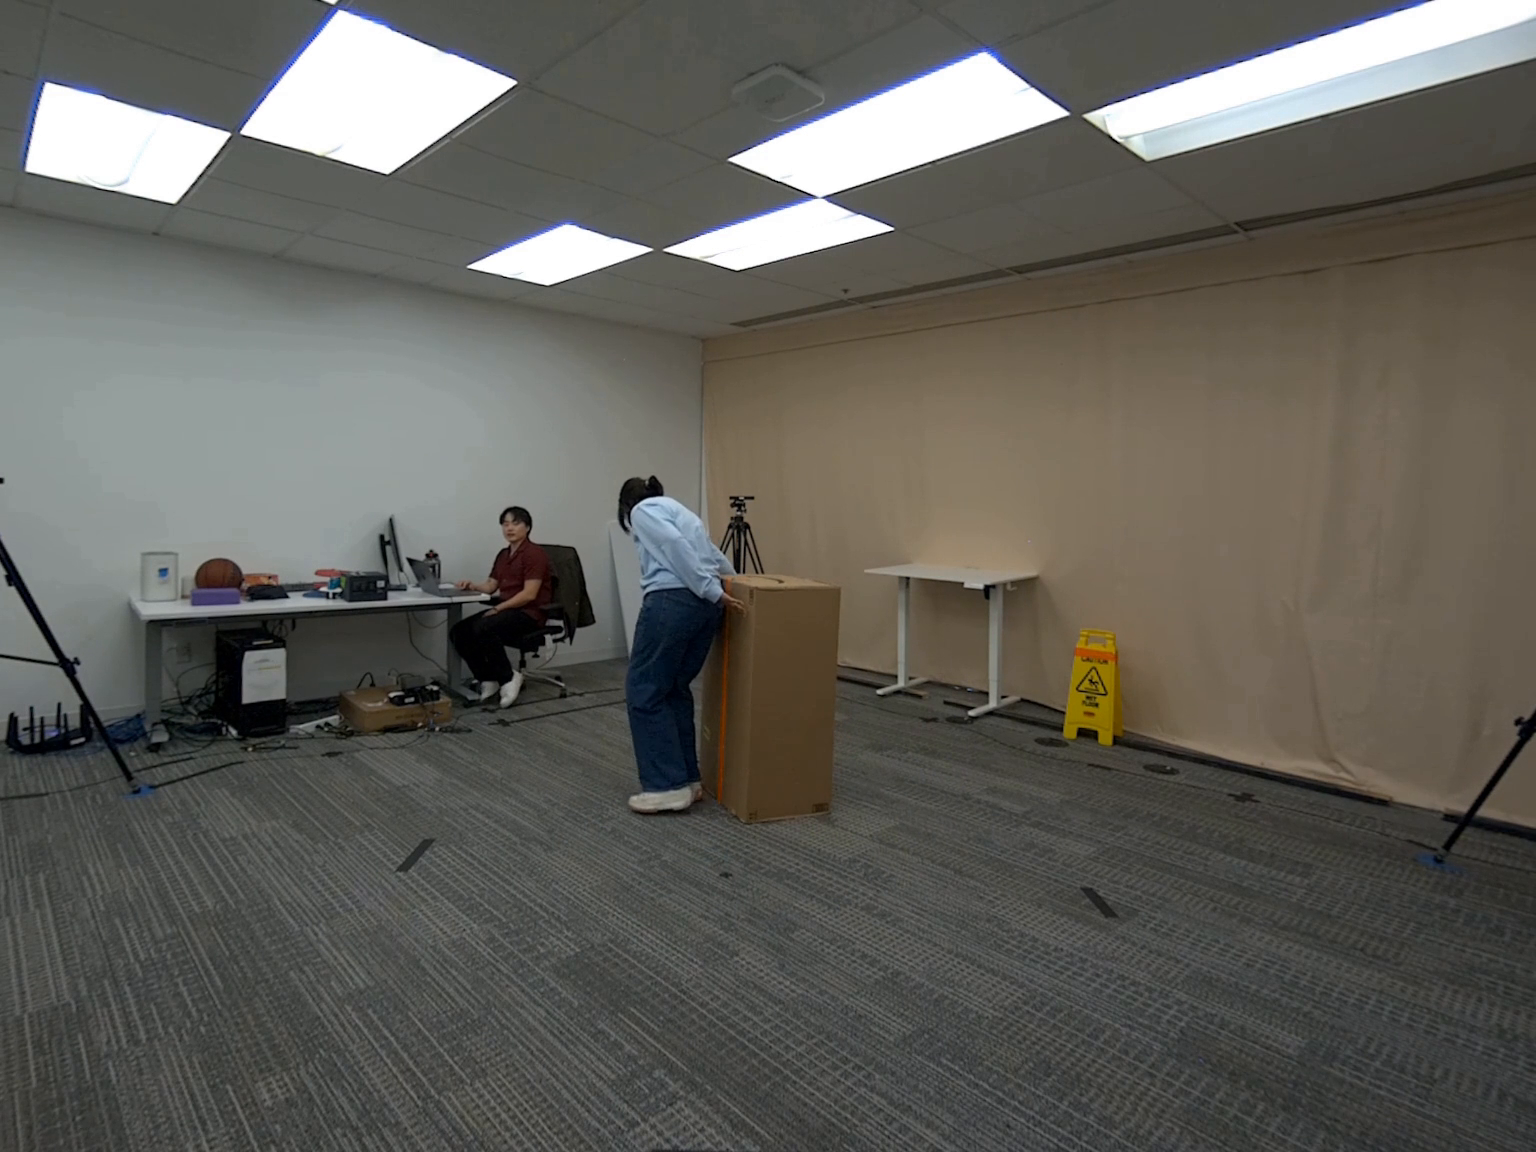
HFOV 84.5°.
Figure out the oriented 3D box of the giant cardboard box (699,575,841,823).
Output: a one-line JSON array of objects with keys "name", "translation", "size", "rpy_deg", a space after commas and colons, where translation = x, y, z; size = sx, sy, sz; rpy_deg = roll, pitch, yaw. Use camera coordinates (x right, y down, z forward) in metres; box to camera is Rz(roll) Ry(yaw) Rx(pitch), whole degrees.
[{"name": "giant cardboard box", "translation": [-0.016, 0.524, 3.906], "size": [0.419, 1.024, 0.589], "rpy_deg": [1, 3, -24]}]
